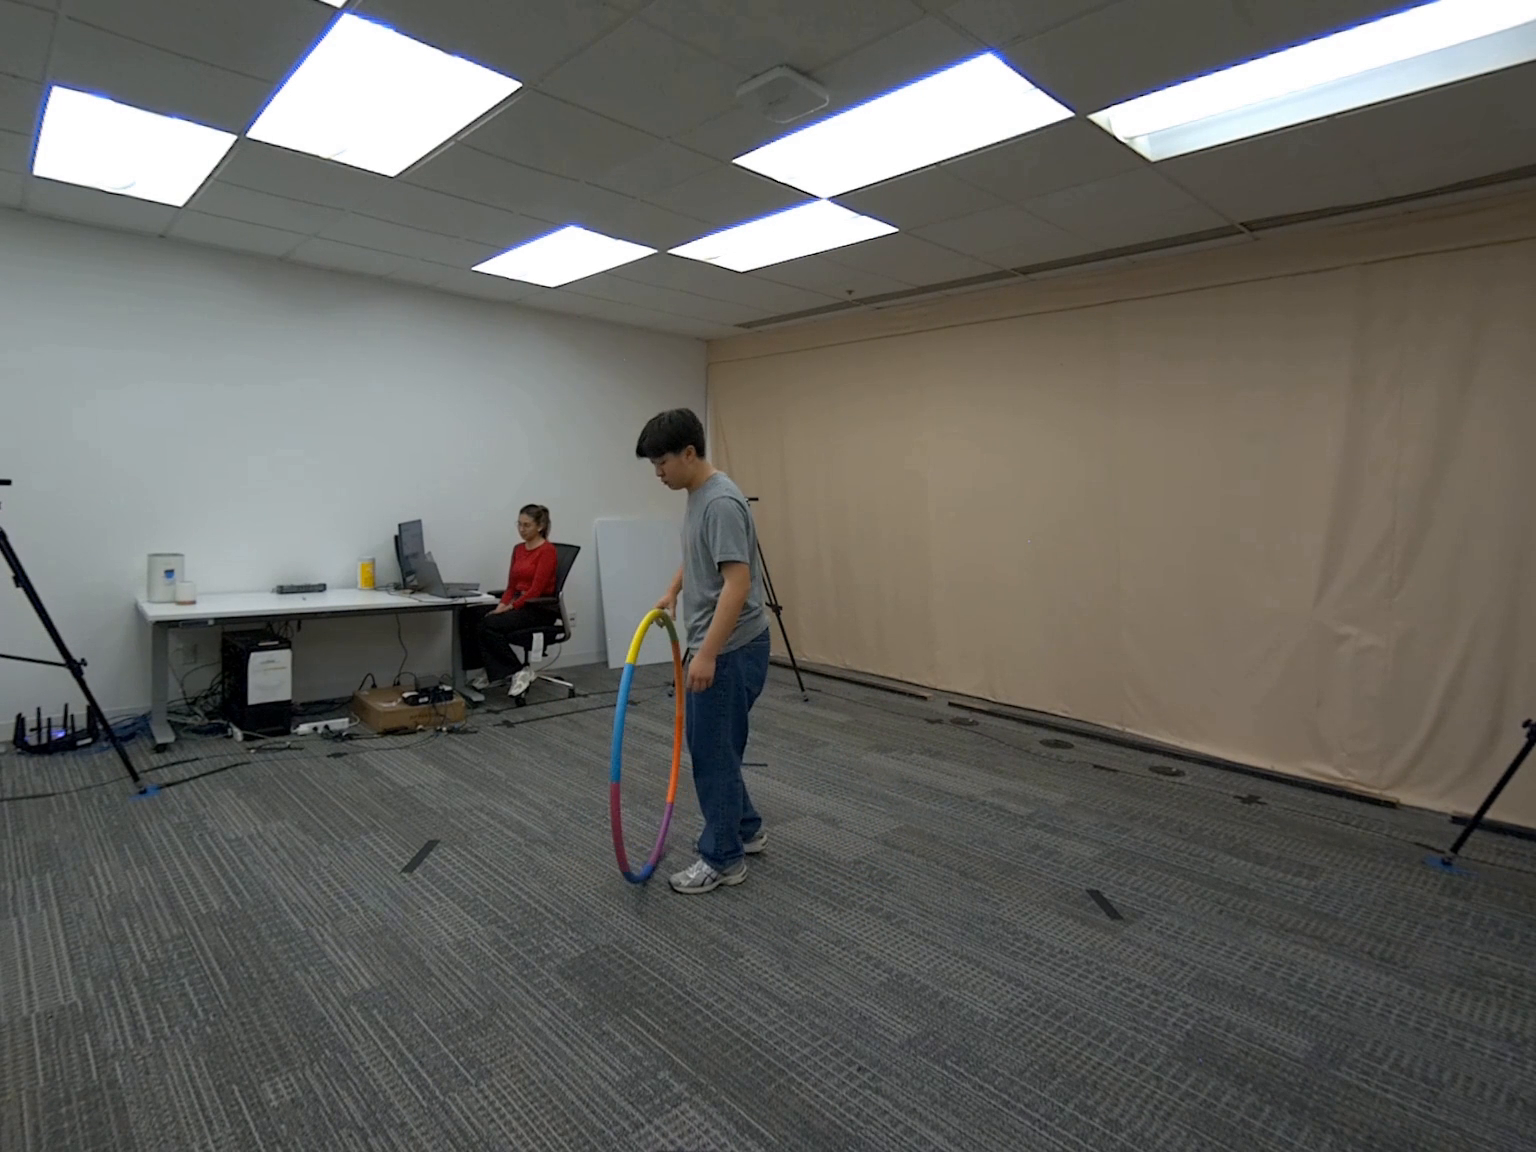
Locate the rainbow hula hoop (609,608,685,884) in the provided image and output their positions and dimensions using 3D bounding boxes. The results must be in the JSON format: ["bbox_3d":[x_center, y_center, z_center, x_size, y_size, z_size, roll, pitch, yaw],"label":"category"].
[{"bbox_3d":[-0.441,0.616,3.114,0.036,0.976,0.976,1,4,5],"label":"rainbow hula hoop"}]
